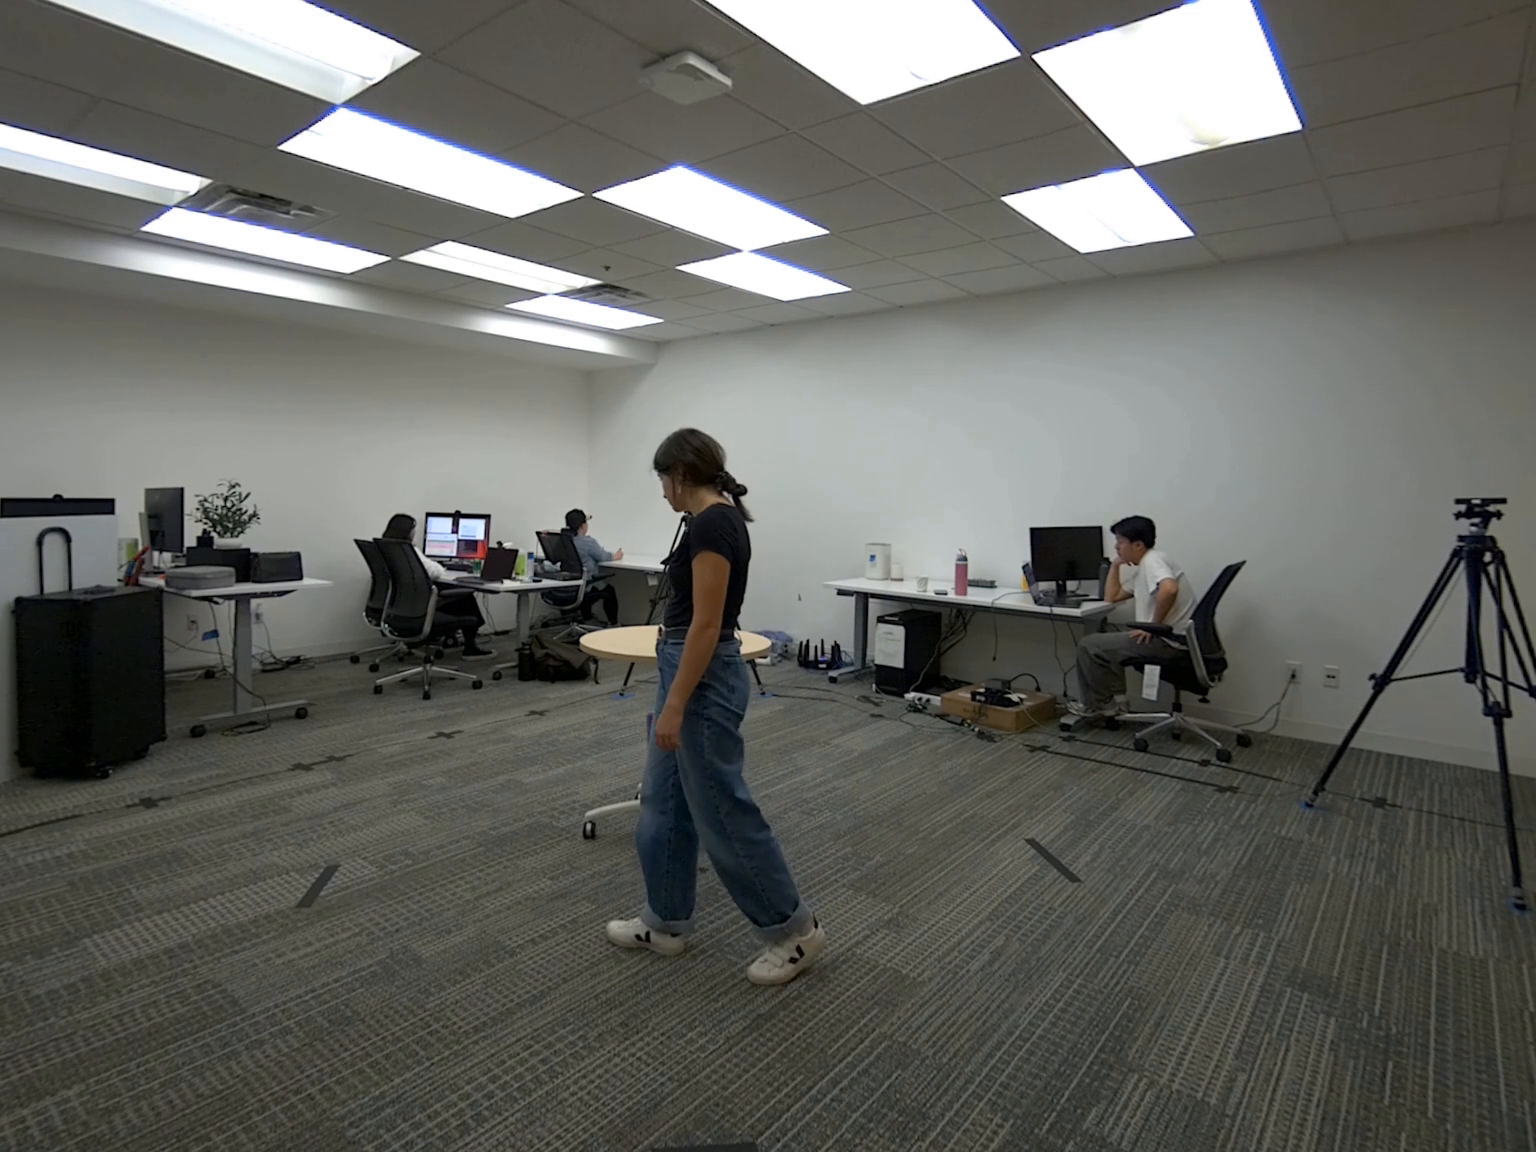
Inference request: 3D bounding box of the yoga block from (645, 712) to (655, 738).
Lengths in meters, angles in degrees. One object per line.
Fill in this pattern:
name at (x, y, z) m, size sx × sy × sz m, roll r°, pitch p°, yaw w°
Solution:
yoga block at (-0.263, 0.499, 2.717) m, size 0.228 × 0.151 × 0.076 m, roll -3°, pitch -12°, yaw -6°
